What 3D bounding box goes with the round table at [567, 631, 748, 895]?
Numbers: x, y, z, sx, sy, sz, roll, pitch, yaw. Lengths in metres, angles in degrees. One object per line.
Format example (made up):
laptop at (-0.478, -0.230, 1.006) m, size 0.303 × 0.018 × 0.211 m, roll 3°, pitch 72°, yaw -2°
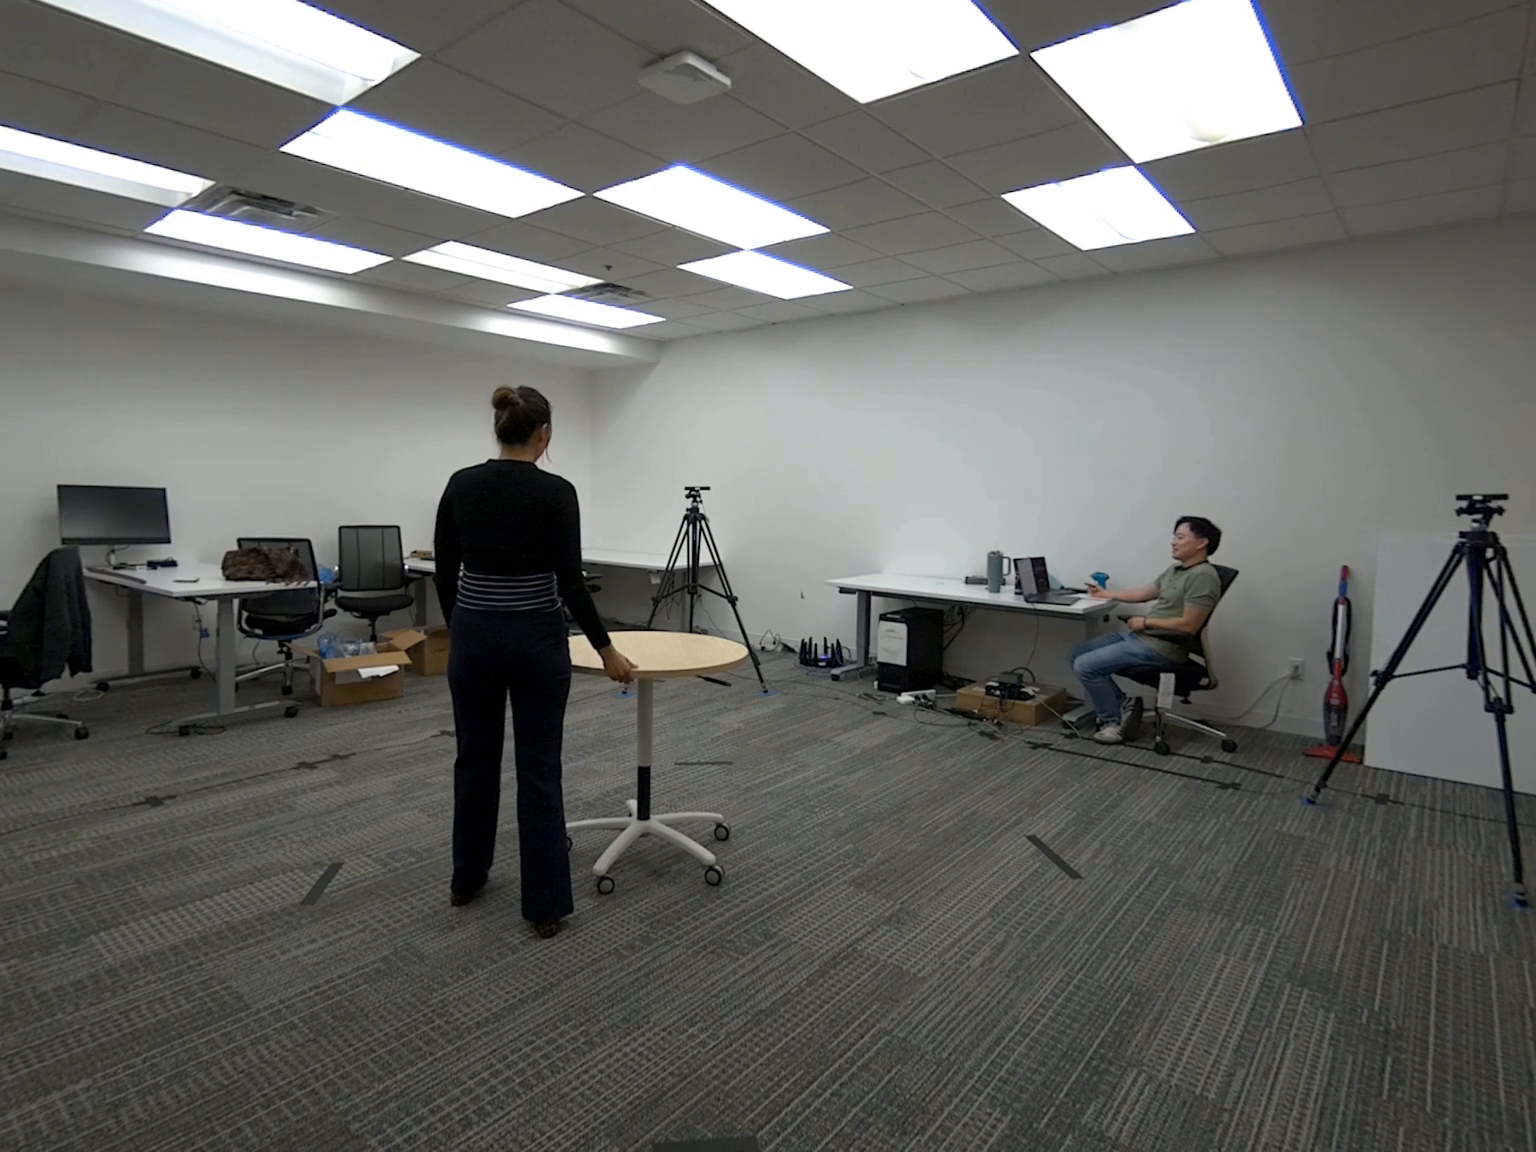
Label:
round table at (-0.471, 0.662, 3.191) m, size 0.763 × 0.791 × 0.768 m, roll 1°, pitch 4°, yaw -2°
